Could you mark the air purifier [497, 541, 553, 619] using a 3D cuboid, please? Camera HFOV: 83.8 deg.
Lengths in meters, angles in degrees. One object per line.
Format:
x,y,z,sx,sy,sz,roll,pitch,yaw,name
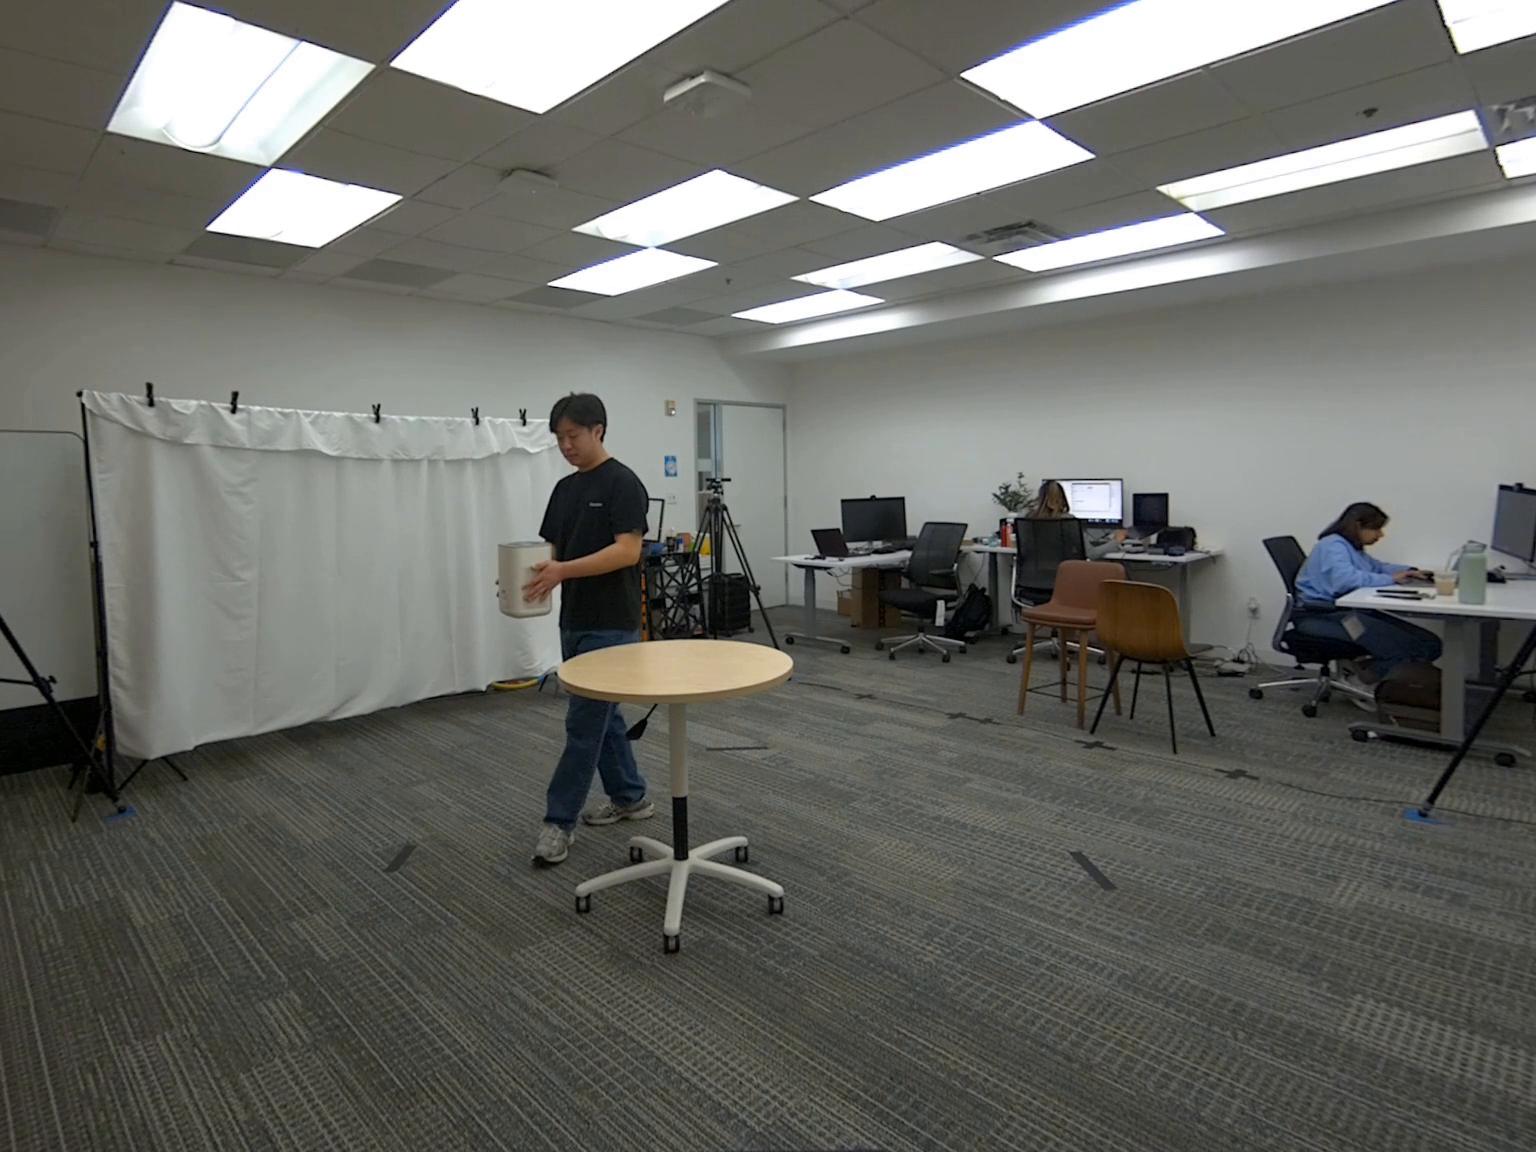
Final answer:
-0.901,0.010,3.158,0.176,0.264,0.167,5,8,44,air purifier
